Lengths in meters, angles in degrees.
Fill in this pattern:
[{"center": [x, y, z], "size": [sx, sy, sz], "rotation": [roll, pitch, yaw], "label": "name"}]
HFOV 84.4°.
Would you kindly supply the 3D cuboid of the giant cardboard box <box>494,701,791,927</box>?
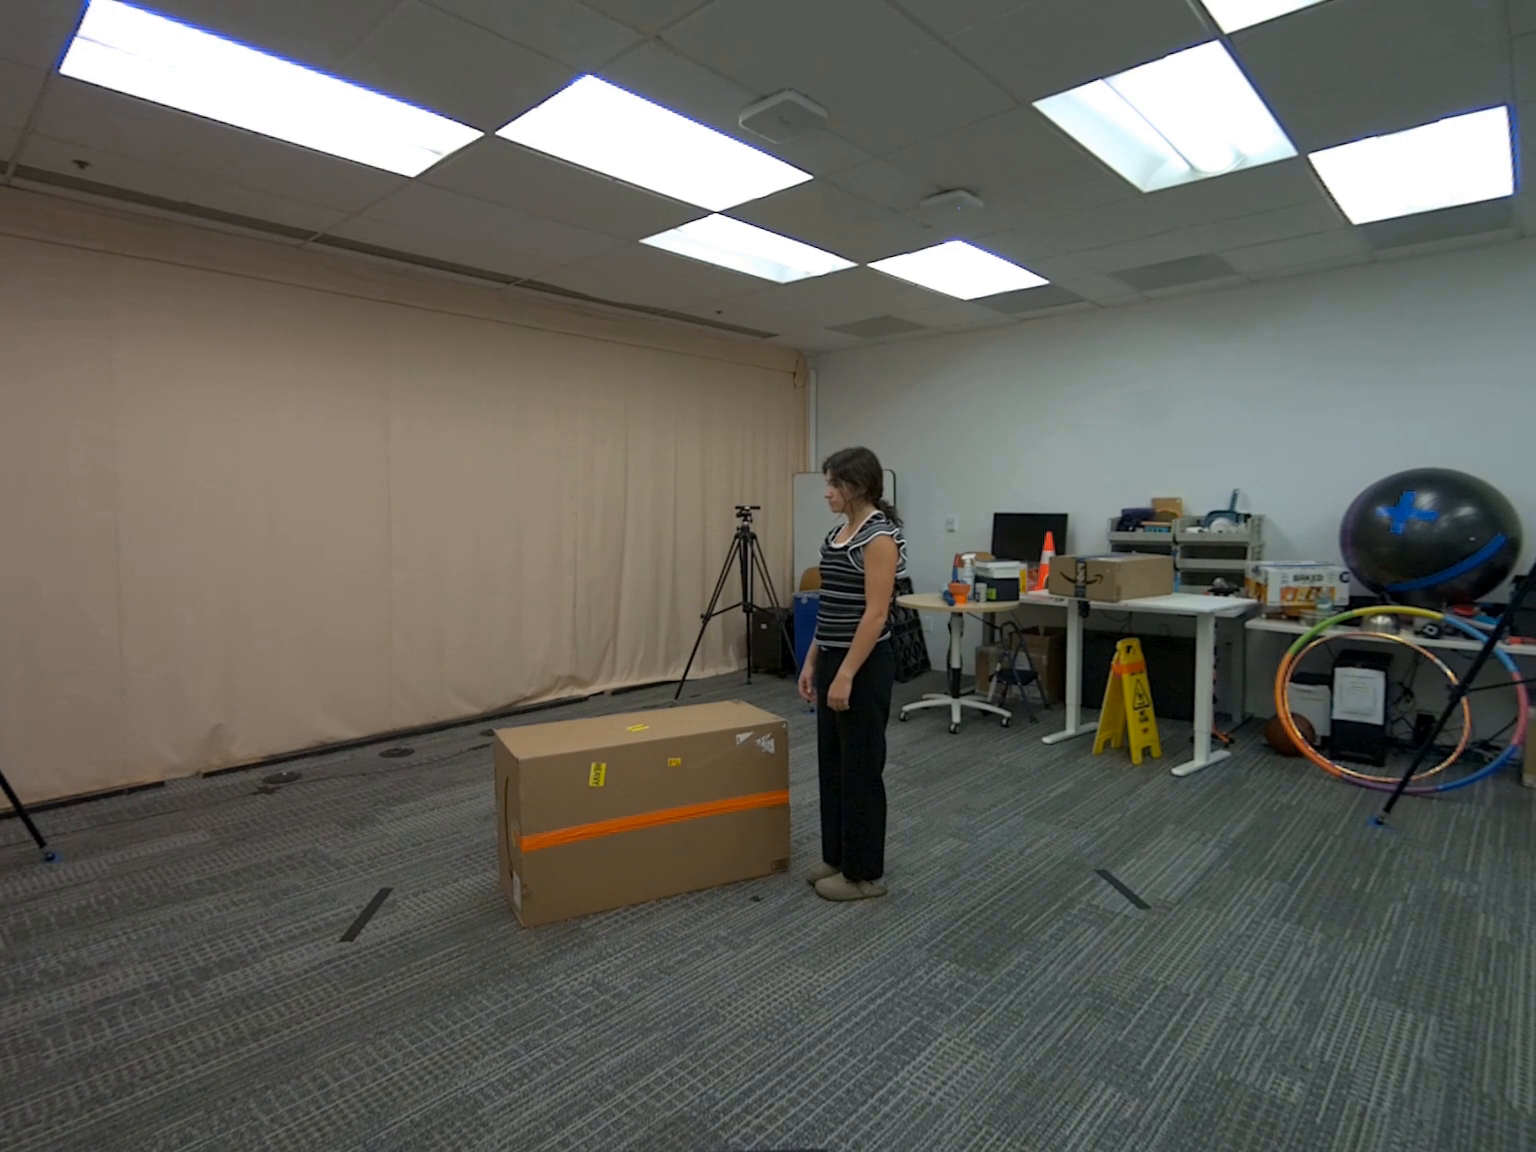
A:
[{"center": [-0.468, 0.842, 3.169], "size": [1.001, 0.576, 0.437], "rotation": [-3, 4, -25], "label": "giant cardboard box"}]
